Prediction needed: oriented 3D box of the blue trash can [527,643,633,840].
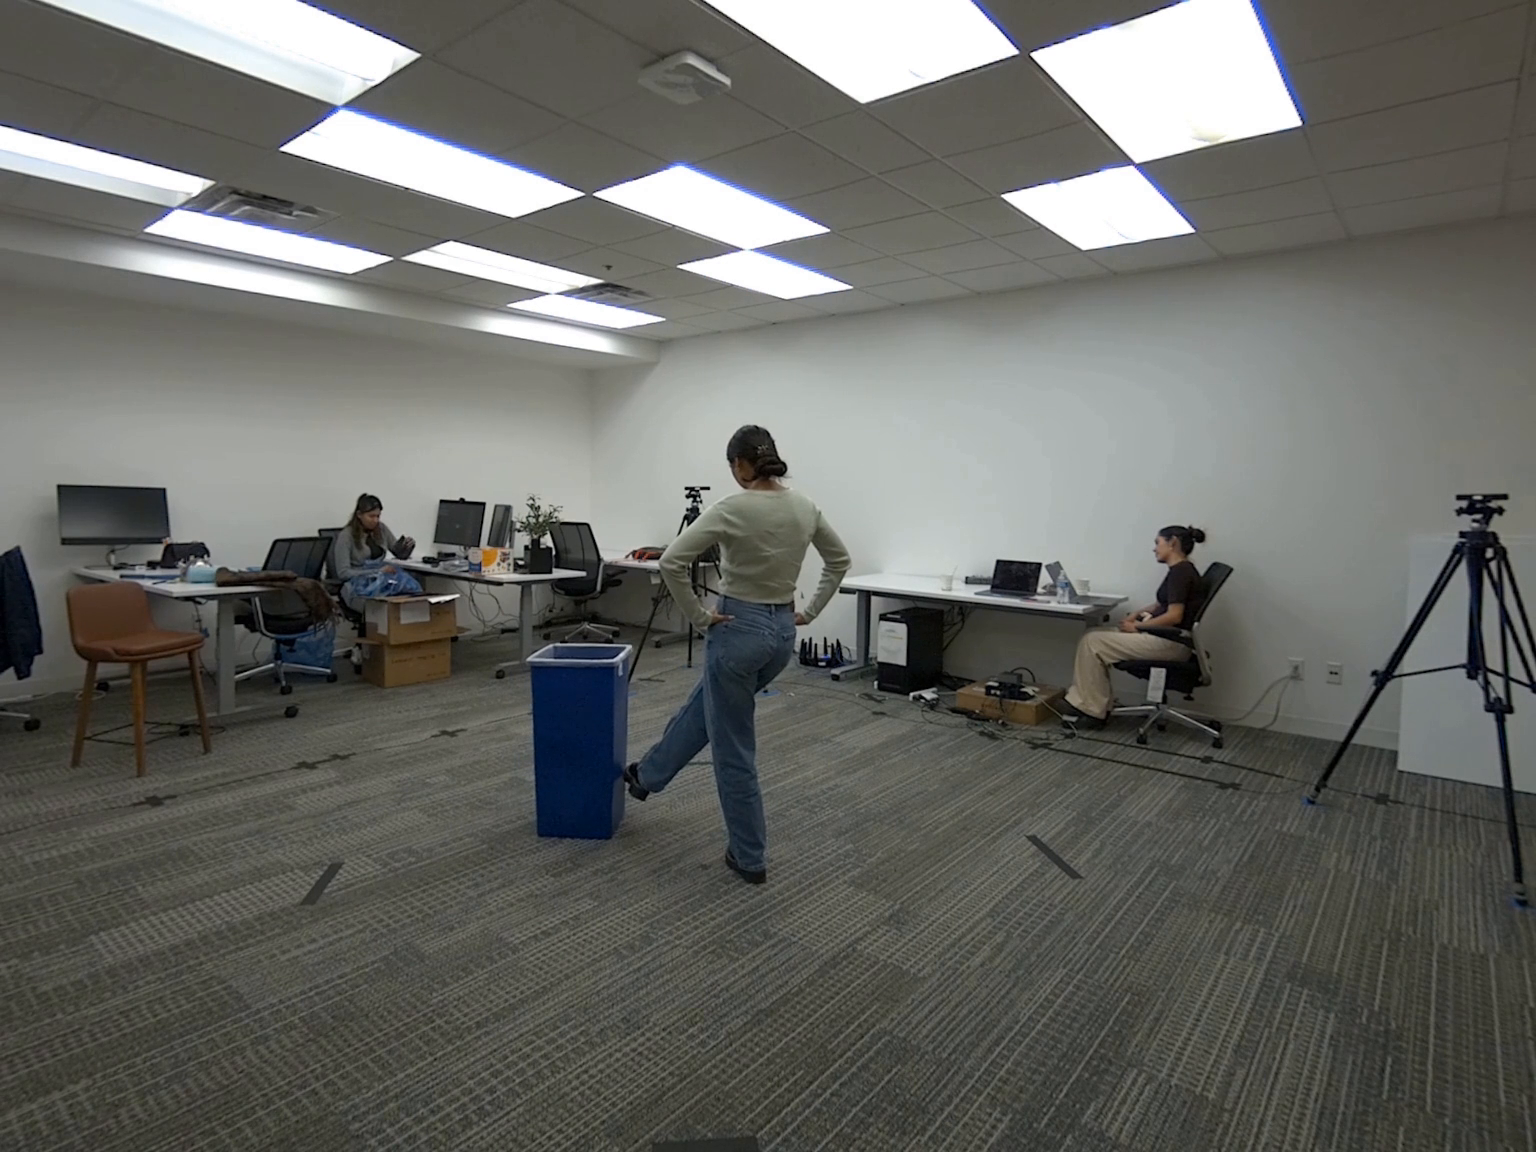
[{"bbox_3d":[-0.783,0.663,3.496,0.379,0.711,0.374,0,3,2],"label":"blue trash can"}]
